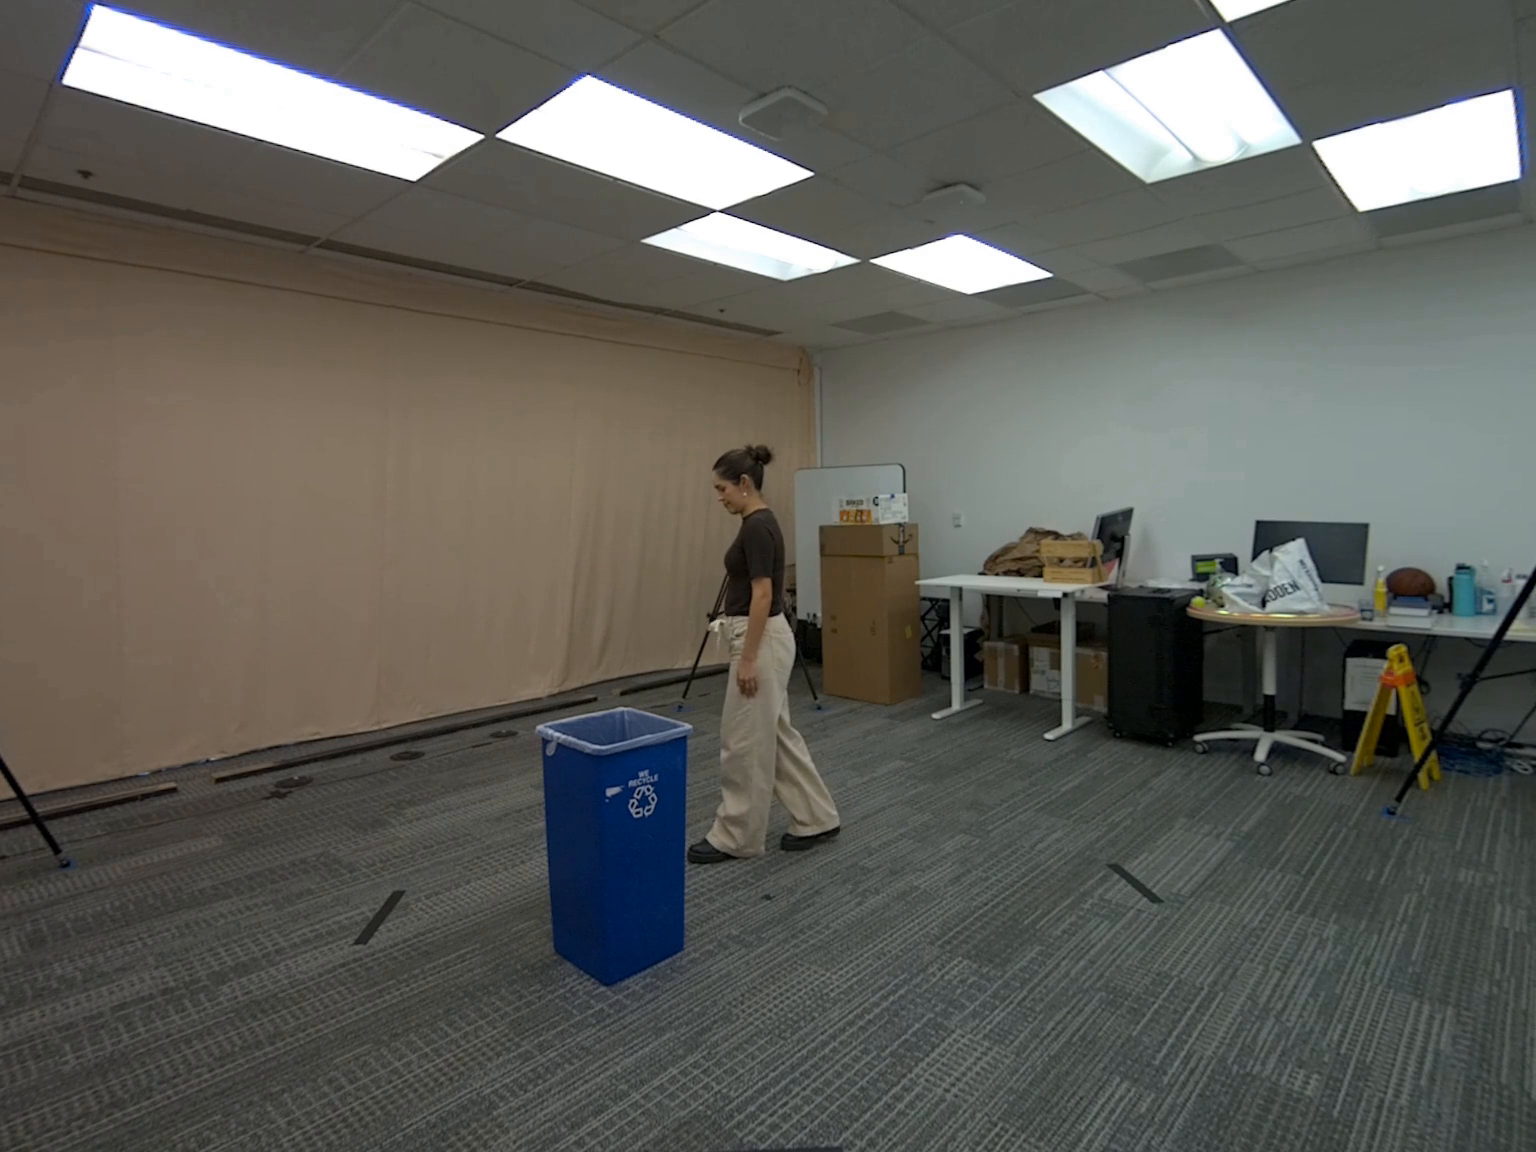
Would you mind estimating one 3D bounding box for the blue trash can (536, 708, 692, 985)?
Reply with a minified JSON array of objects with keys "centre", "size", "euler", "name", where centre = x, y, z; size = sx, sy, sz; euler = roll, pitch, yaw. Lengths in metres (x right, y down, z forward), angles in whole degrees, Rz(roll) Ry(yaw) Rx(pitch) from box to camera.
[{"centre":[-0.469,0.822,2.630],"size":[0.366,0.712,0.386],"euler":[-3,4,-44],"name":"blue trash can"}]
